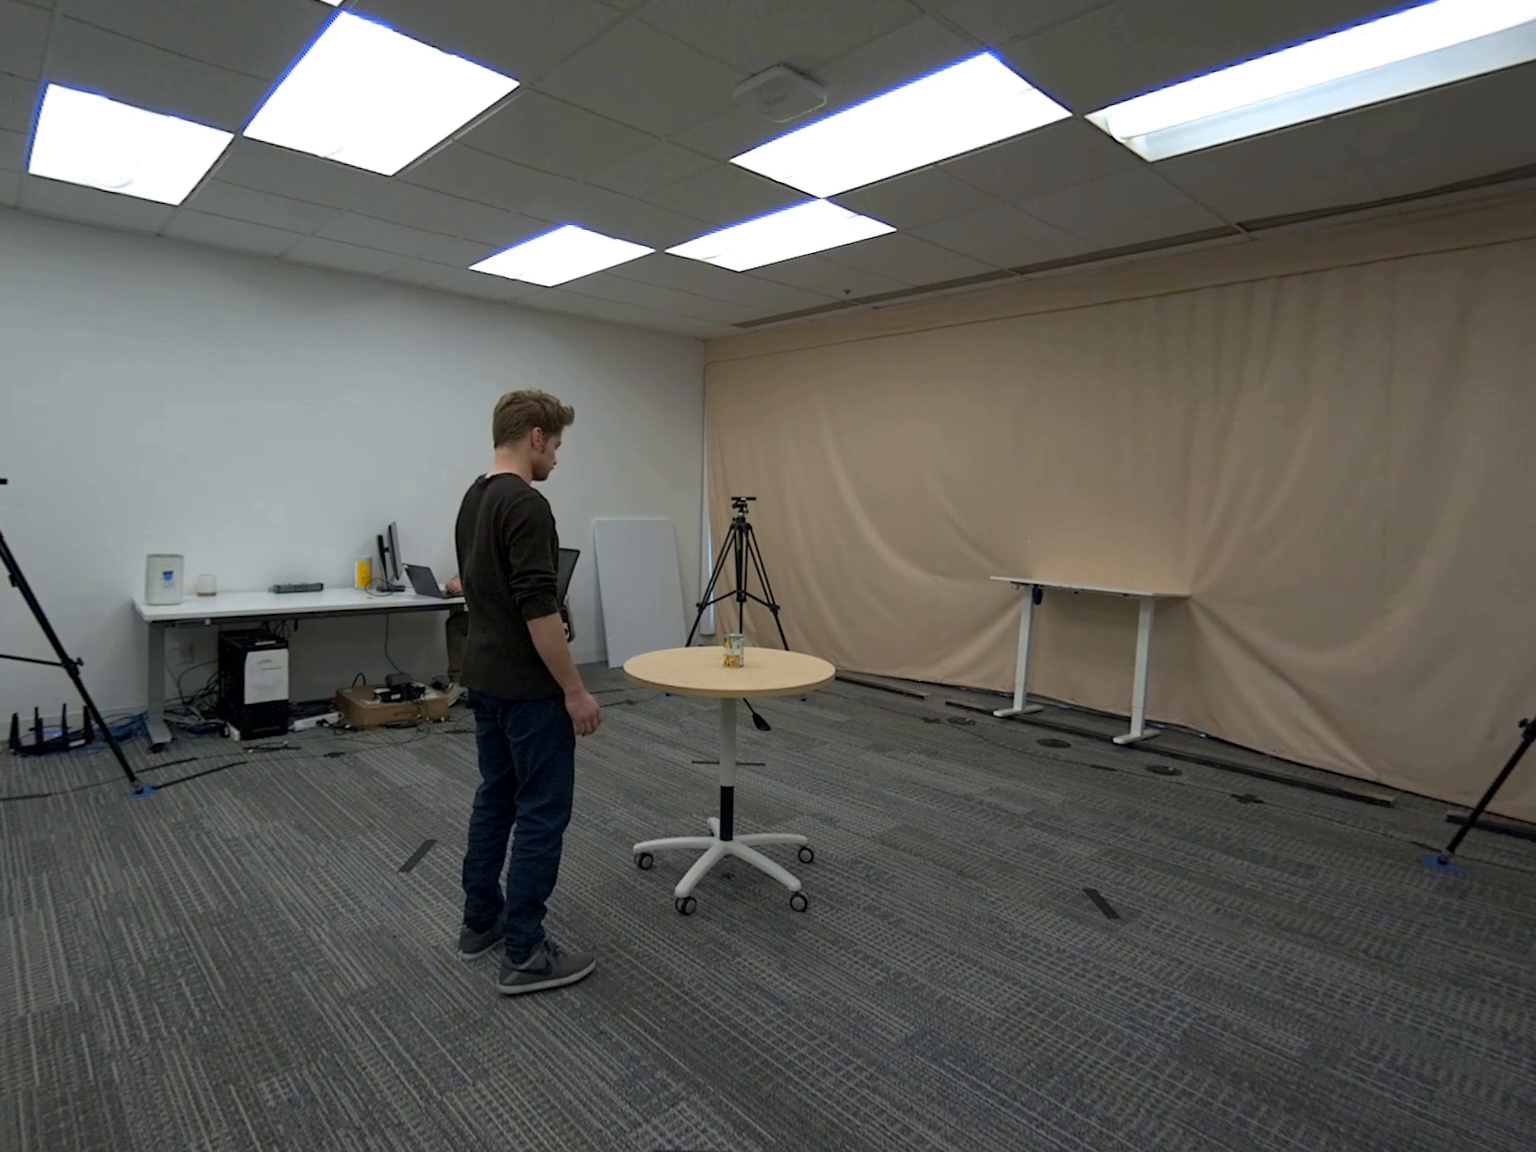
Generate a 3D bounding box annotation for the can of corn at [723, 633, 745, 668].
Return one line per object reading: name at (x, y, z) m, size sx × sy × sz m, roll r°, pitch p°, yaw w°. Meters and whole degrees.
can of corn at (-0.128, 0.271, 3.053) m, size 0.074 × 0.110 × 0.074 m, roll 0°, pitch 5°, yaw -1°
